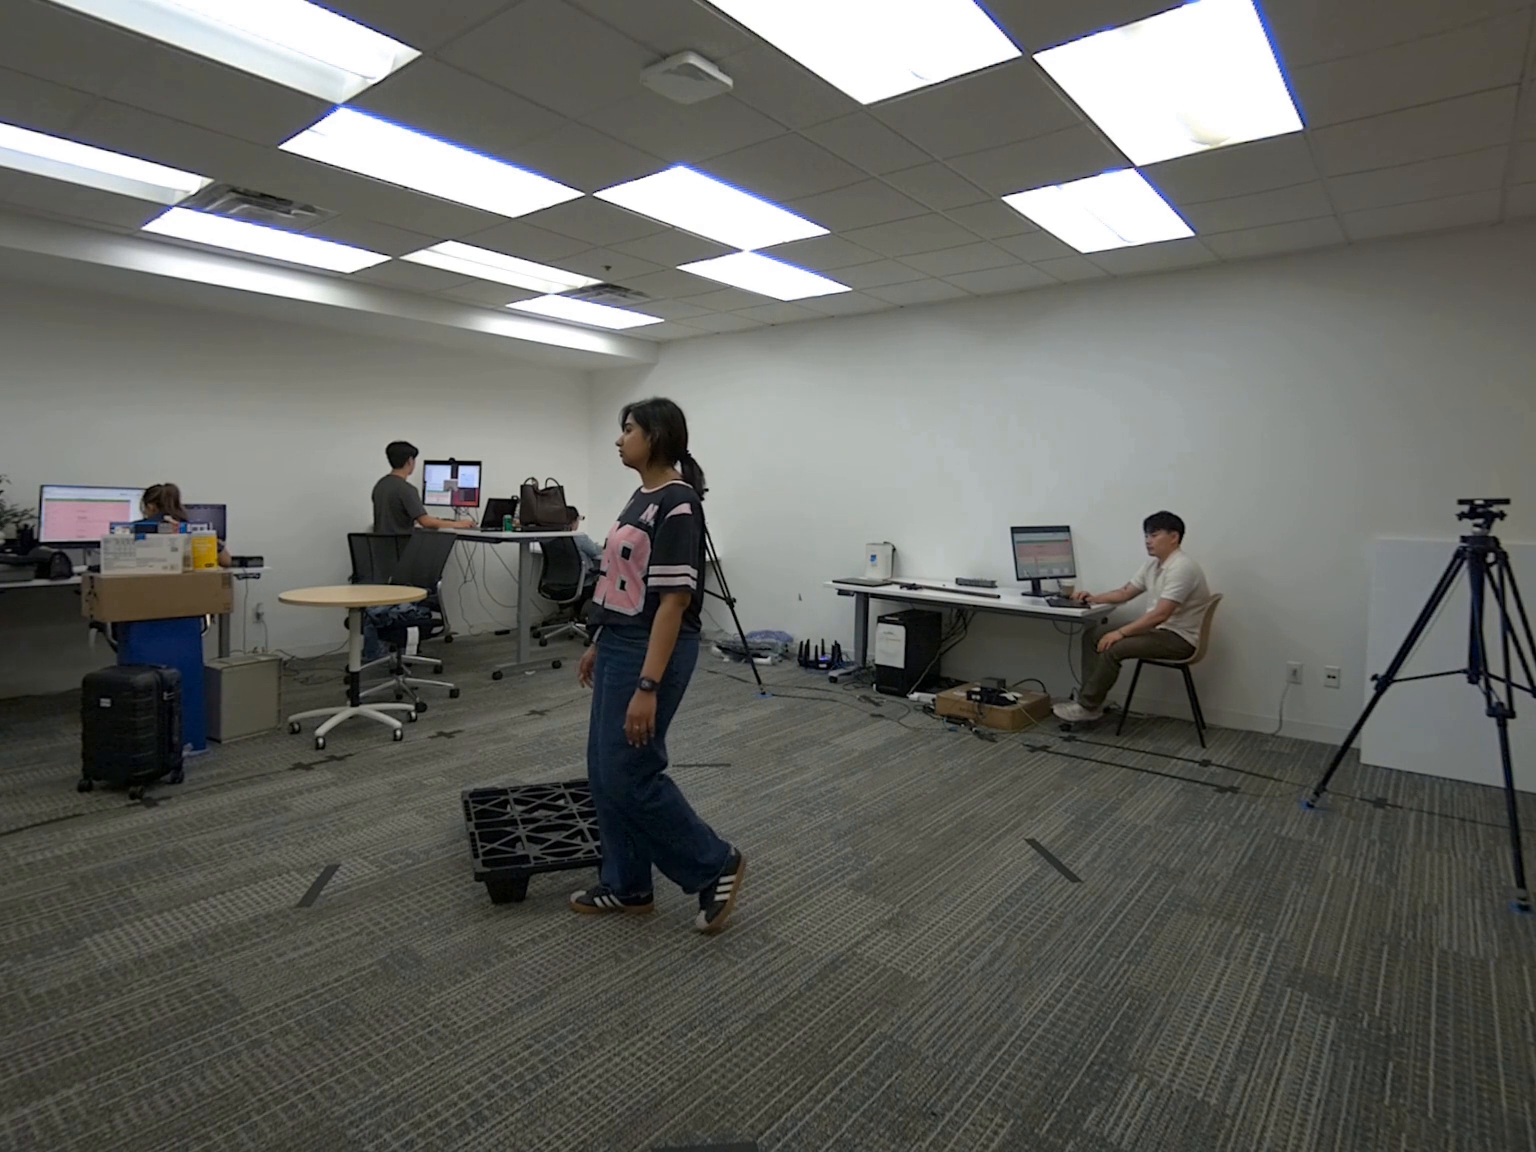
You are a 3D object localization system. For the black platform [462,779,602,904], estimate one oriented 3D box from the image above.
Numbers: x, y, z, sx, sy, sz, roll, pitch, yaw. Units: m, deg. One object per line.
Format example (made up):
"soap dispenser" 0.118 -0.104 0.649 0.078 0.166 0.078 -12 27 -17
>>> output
"black platform" -0.854 0.983 3.227 0.593 0.143 0.825 -2 6 -22
